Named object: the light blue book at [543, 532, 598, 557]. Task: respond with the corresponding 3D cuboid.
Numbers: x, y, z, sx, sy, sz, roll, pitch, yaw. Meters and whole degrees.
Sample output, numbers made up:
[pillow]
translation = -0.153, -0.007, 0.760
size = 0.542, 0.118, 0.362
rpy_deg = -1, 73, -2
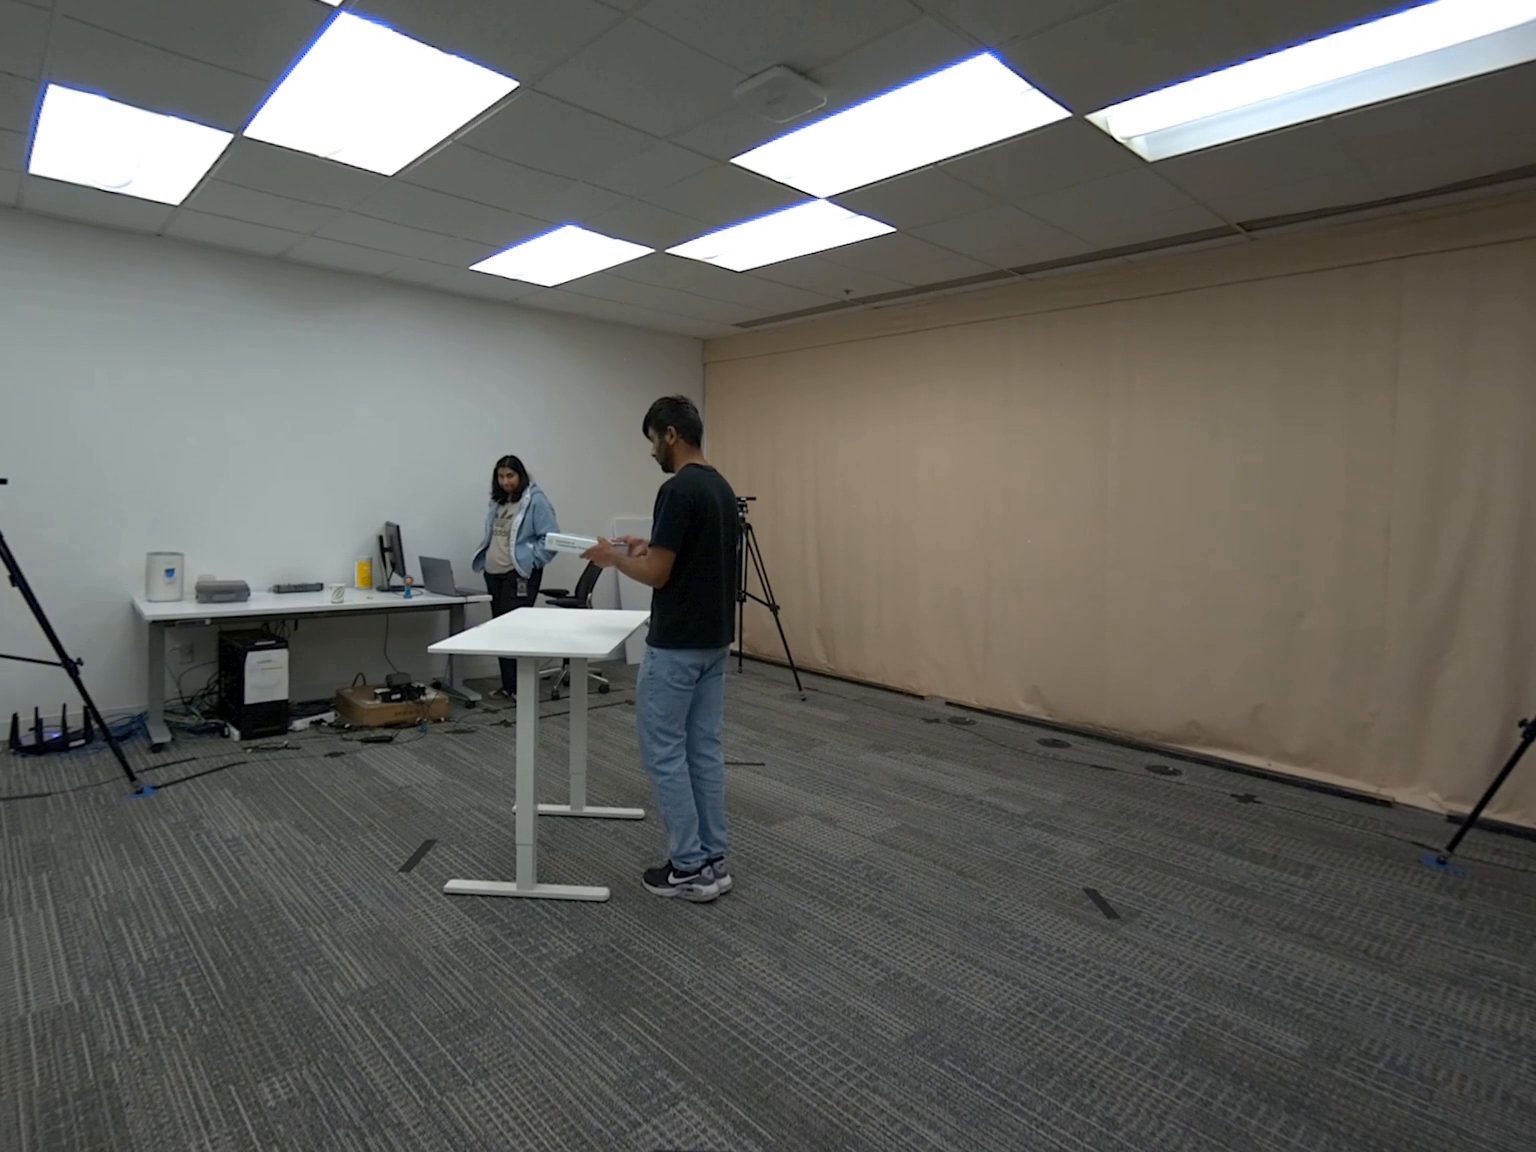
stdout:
[light blue book]
translation = -0.675, -0.111, 3.123
size = 0.264, 0.059, 0.189
rpy_deg = 7, 4, 14
